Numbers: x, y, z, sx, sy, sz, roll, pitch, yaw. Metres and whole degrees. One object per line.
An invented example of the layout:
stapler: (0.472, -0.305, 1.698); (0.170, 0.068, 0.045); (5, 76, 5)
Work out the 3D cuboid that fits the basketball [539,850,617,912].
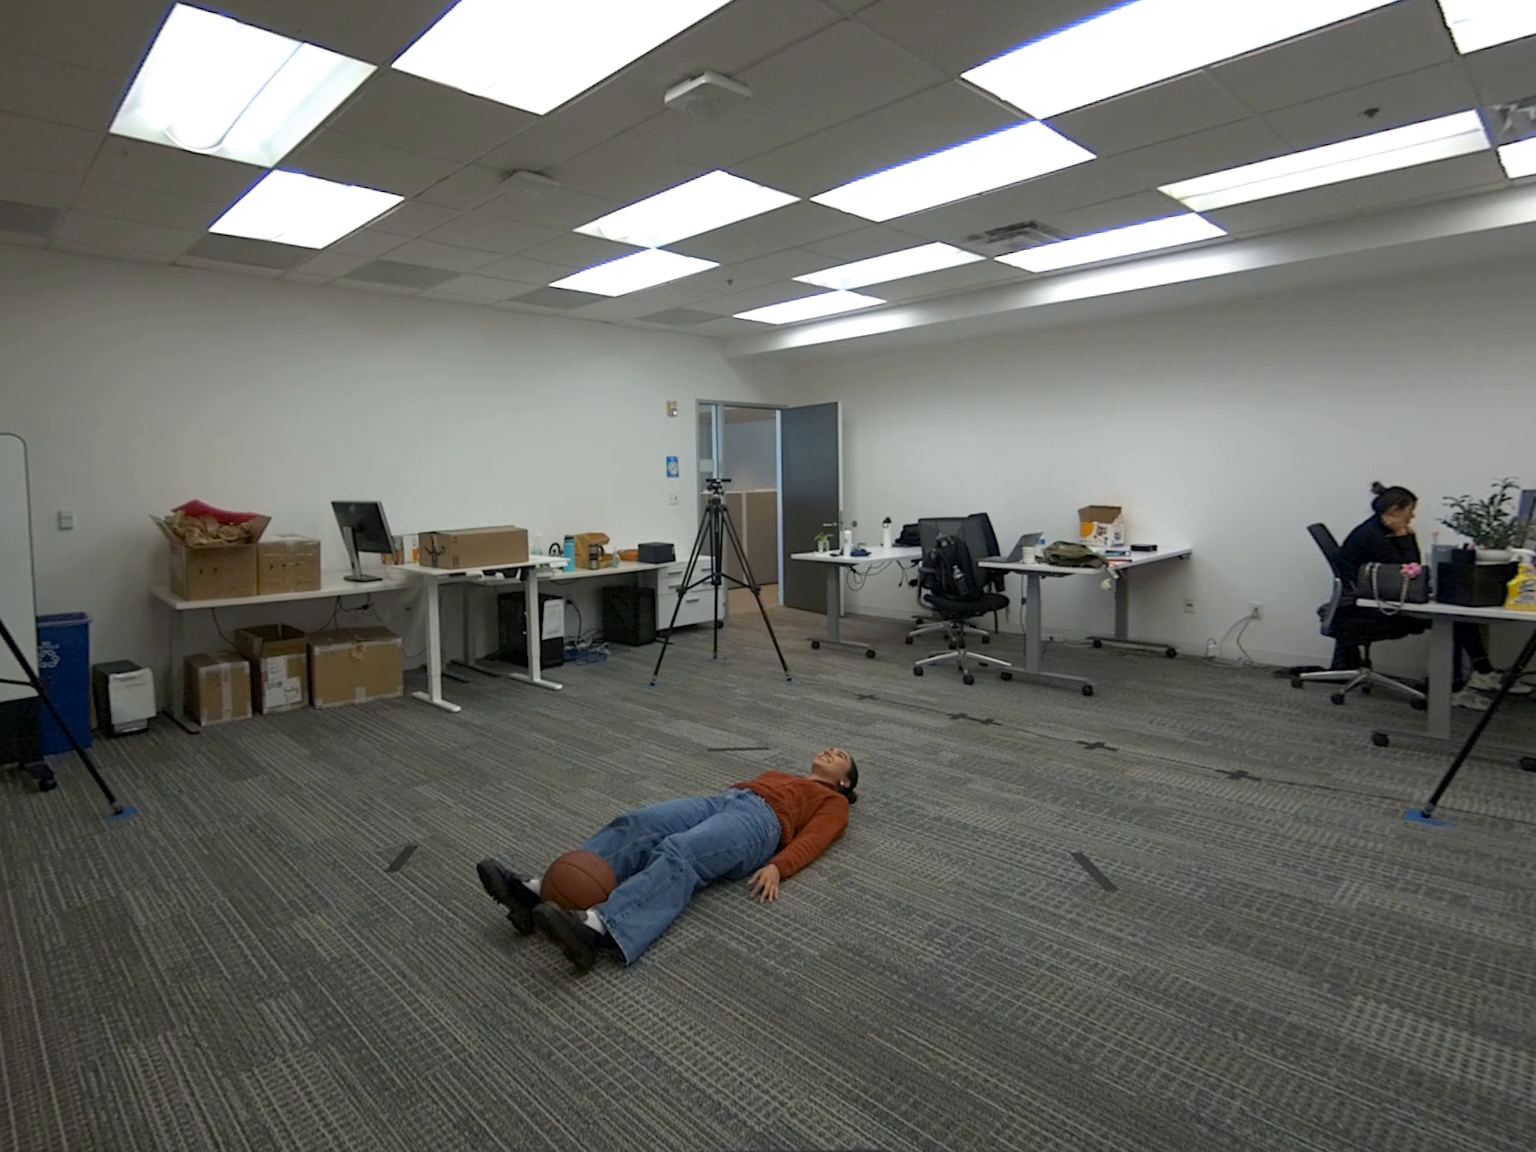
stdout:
basketball: (-0.586, 0.979, 2.640); (0.236, 0.235, 0.237); (-1, 5, -2)
